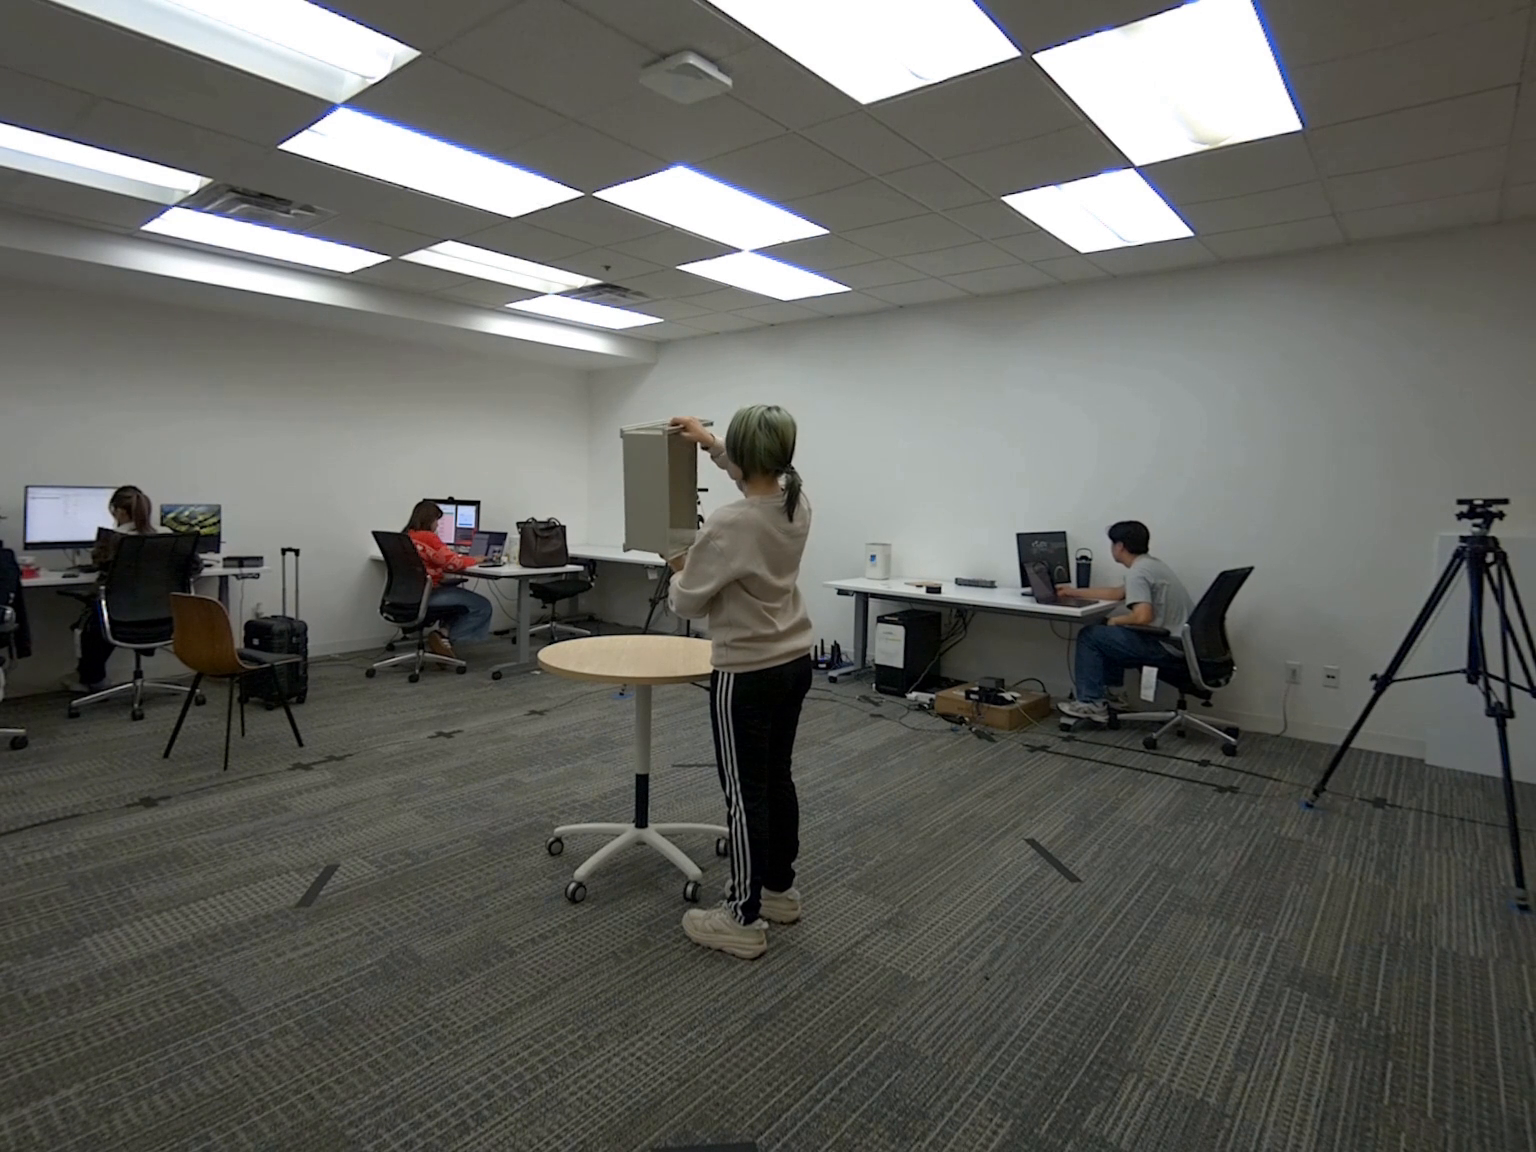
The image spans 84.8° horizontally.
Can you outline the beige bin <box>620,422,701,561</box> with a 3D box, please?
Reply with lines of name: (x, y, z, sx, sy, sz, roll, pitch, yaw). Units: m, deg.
beige bin: (-0.316, -0.308, 2.869, 0.194, 0.417, 0.372, 7, 16, 25)
